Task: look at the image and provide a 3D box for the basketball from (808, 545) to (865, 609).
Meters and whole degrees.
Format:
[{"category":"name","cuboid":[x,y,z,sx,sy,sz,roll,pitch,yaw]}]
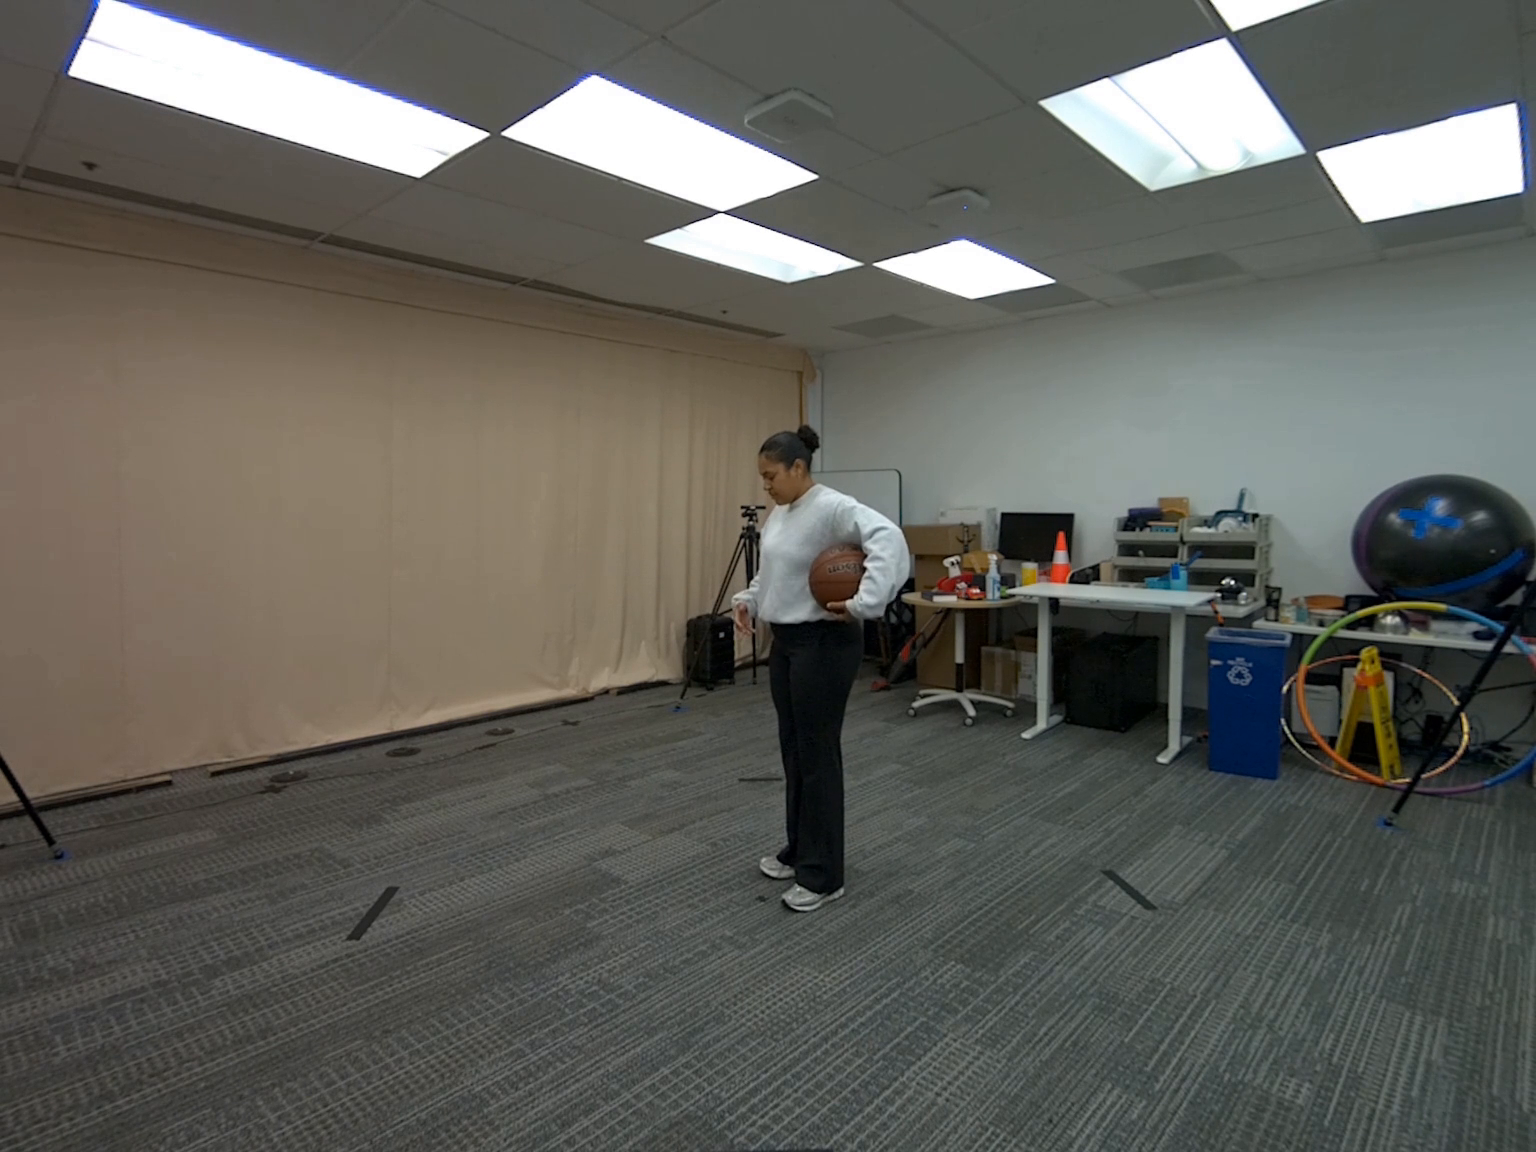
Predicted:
[{"category":"basketball","cuboid":[0.256,0.009,2.799,0.236,0.235,0.237,0,4,-2]}]
